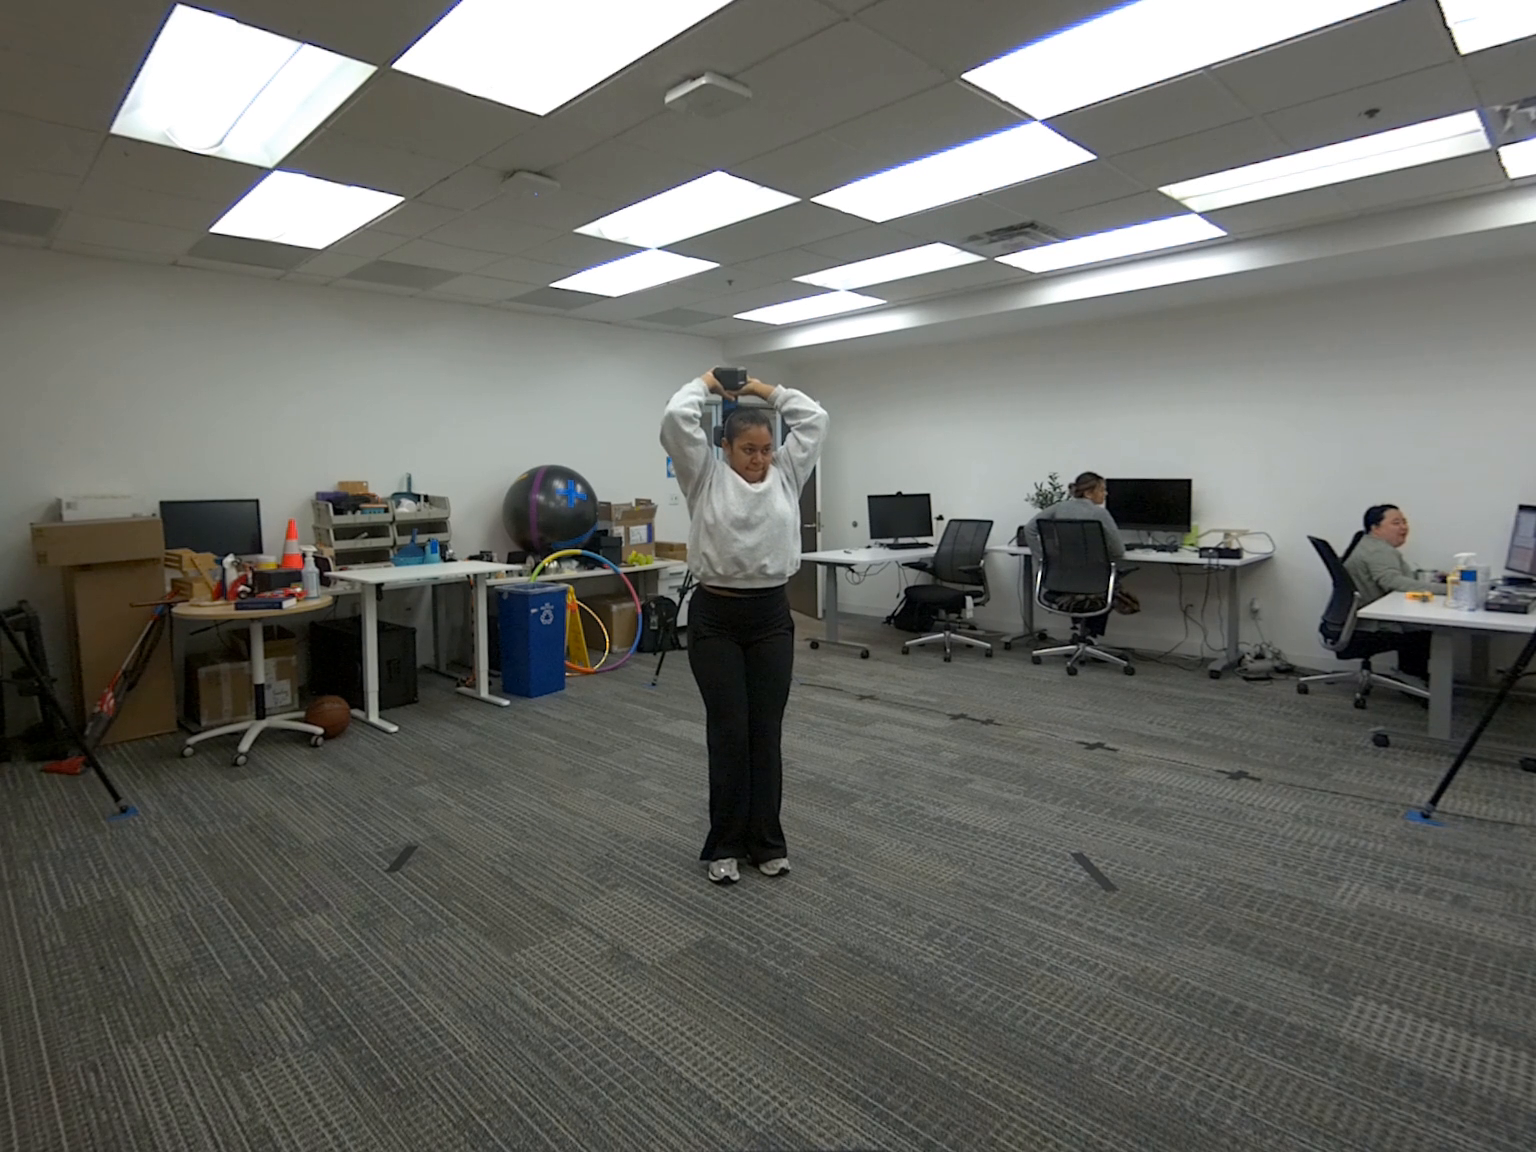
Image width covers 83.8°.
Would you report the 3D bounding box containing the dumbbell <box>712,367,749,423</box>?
[{"bbox_3d":[-0.134,-0.624,3.132,0.112,0.290,0.121,8,16,30],"label":"dumbbell"}]
